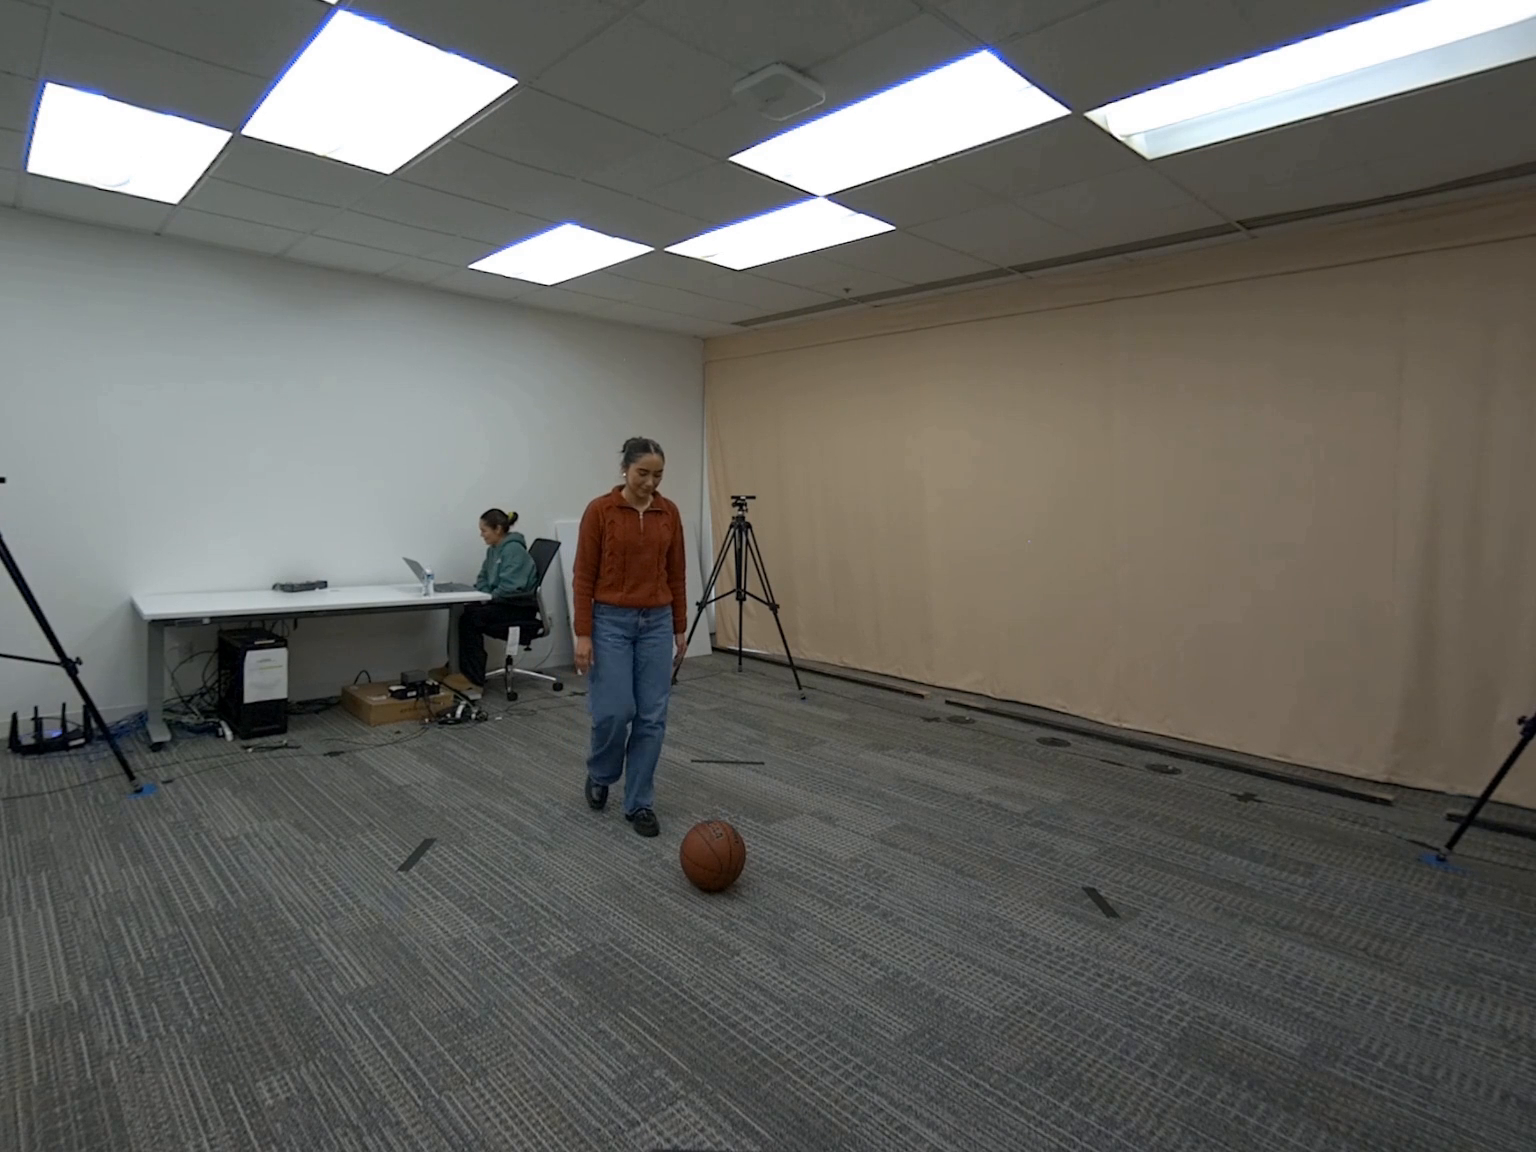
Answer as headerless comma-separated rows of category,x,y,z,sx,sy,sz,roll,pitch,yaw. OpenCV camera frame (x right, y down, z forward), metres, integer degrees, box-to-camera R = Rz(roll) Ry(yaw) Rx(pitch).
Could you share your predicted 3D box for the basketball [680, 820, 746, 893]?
basketball,-0.205,0.993,3.001,0.236,0.235,0.237,1,4,-1
